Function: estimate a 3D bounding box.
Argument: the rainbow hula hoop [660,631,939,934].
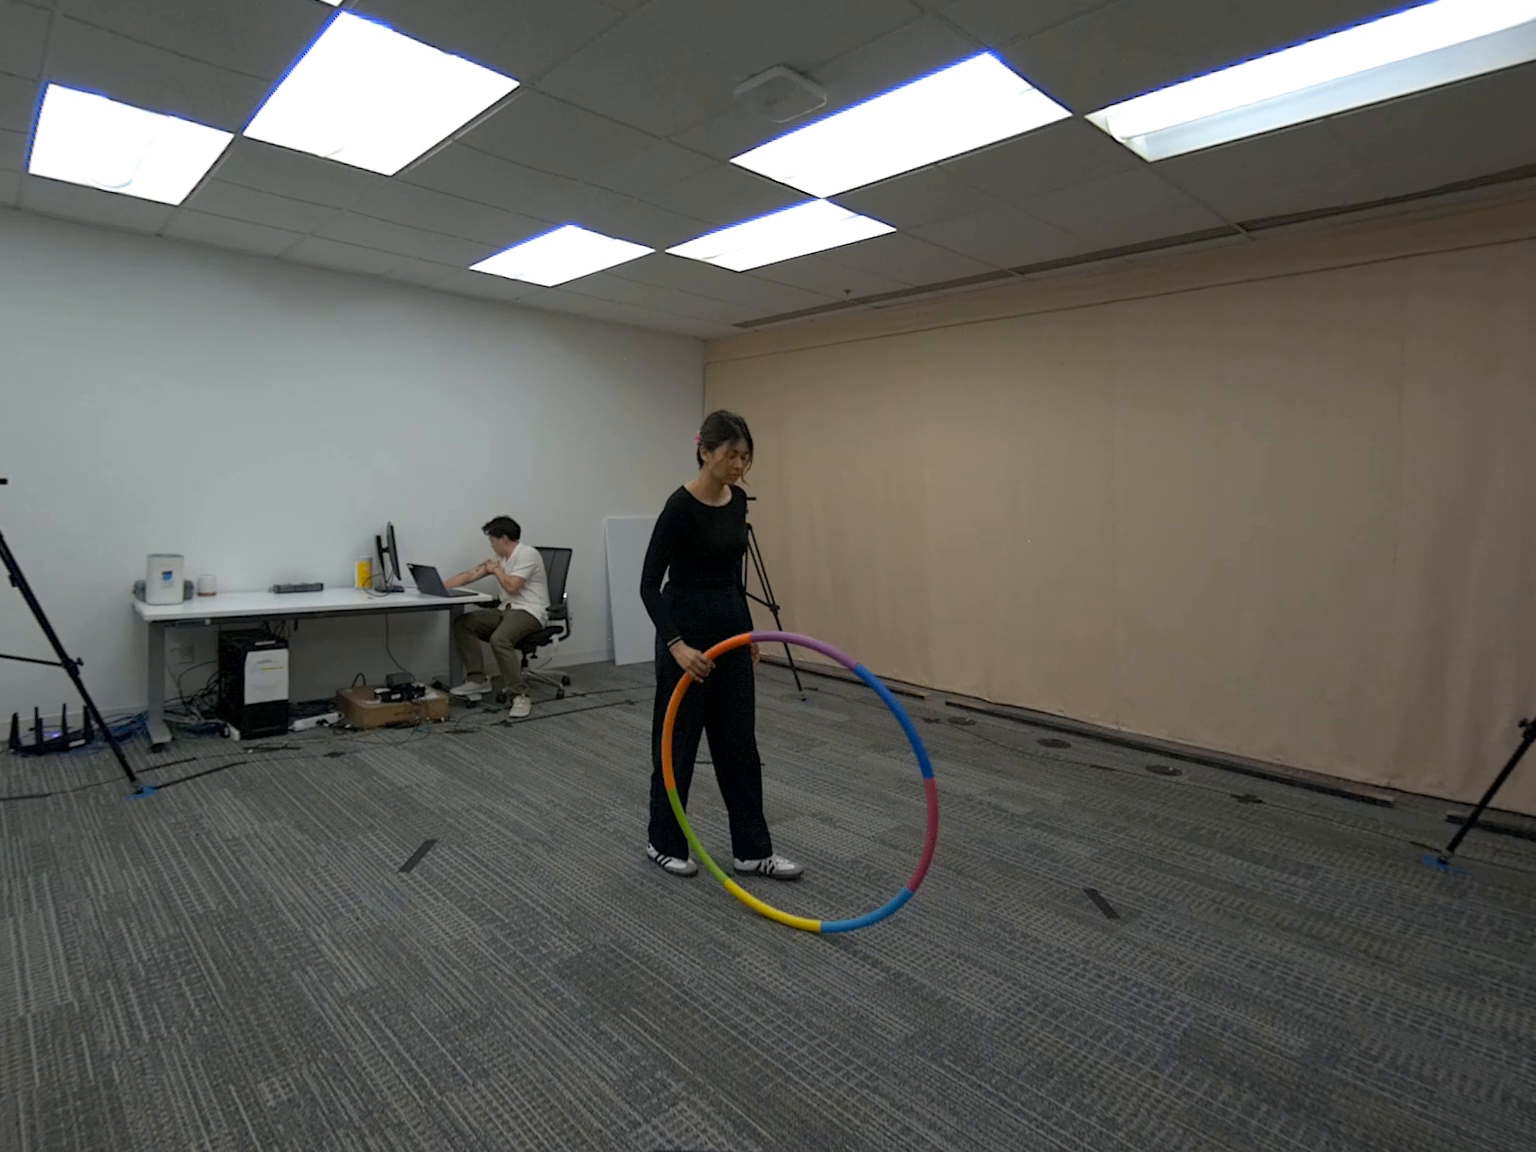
[{"bbox_3d":[0.065,0.668,2.686,1.001,0.972,0.035,4,10,32],"label":"rainbow hula hoop"}]
